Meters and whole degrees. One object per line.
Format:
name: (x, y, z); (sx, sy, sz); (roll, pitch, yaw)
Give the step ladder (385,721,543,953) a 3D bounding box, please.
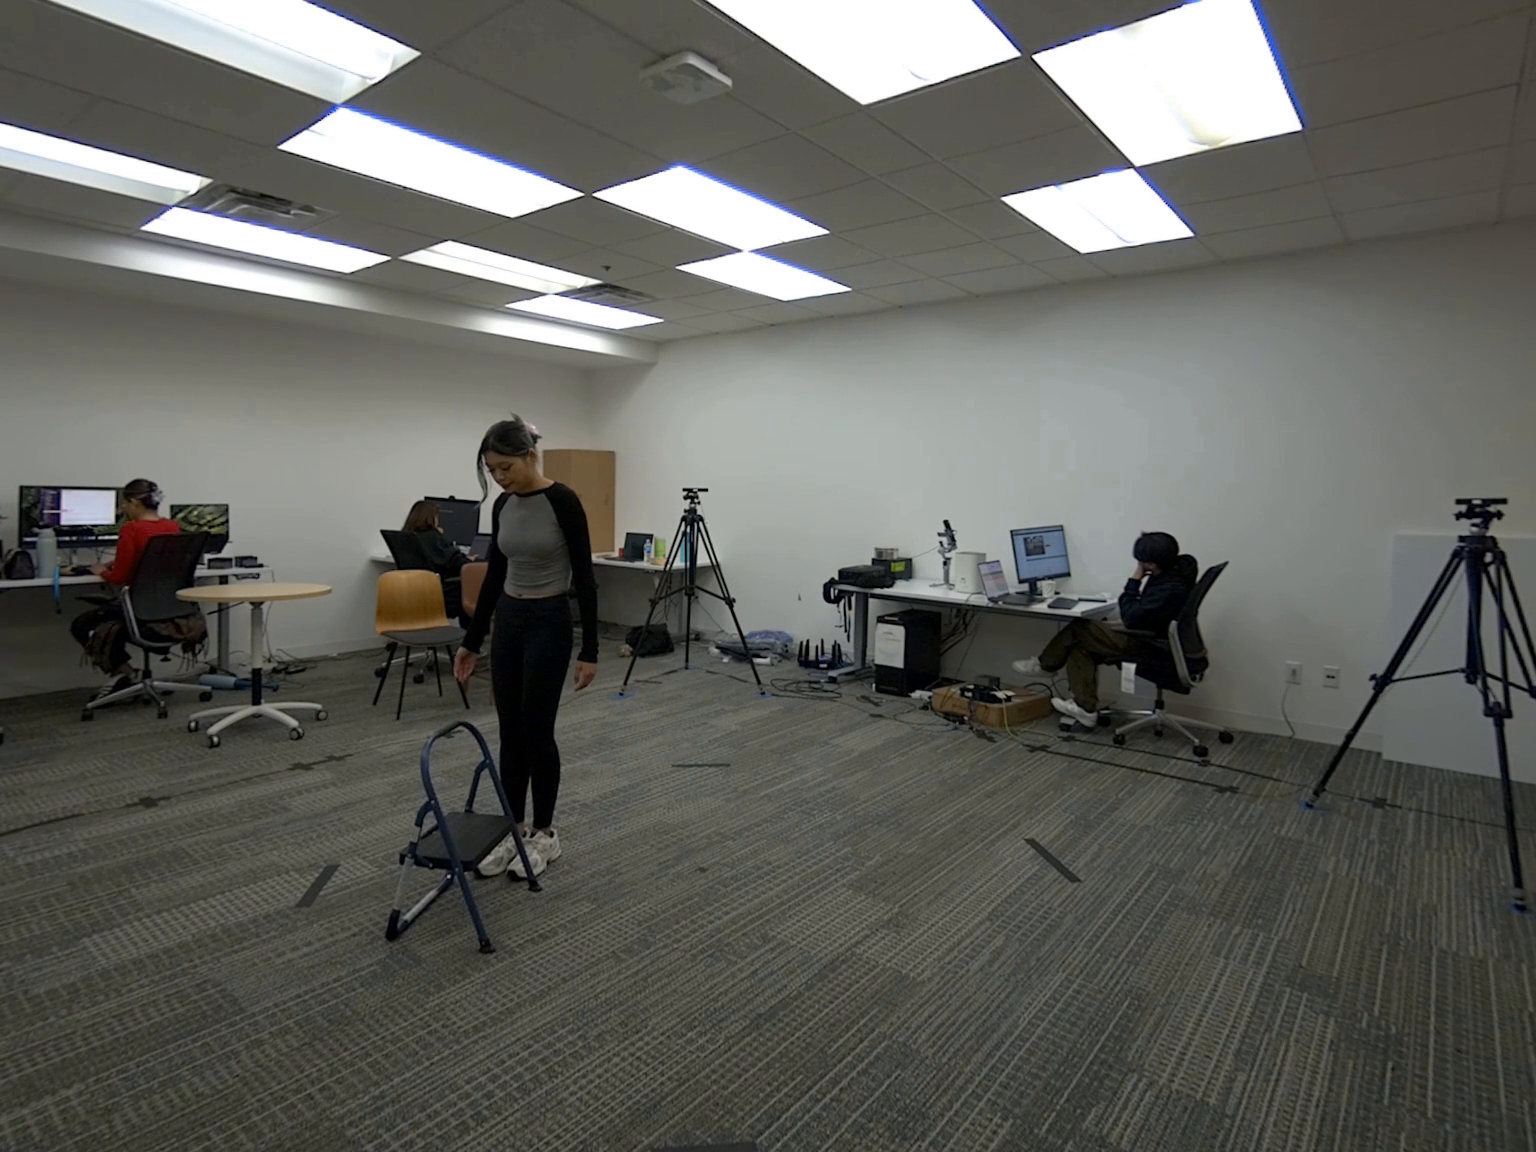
step ladder: (-0.983, 0.794, 2.739); (0.352, 0.604, 0.429); (2, 4, 6)
